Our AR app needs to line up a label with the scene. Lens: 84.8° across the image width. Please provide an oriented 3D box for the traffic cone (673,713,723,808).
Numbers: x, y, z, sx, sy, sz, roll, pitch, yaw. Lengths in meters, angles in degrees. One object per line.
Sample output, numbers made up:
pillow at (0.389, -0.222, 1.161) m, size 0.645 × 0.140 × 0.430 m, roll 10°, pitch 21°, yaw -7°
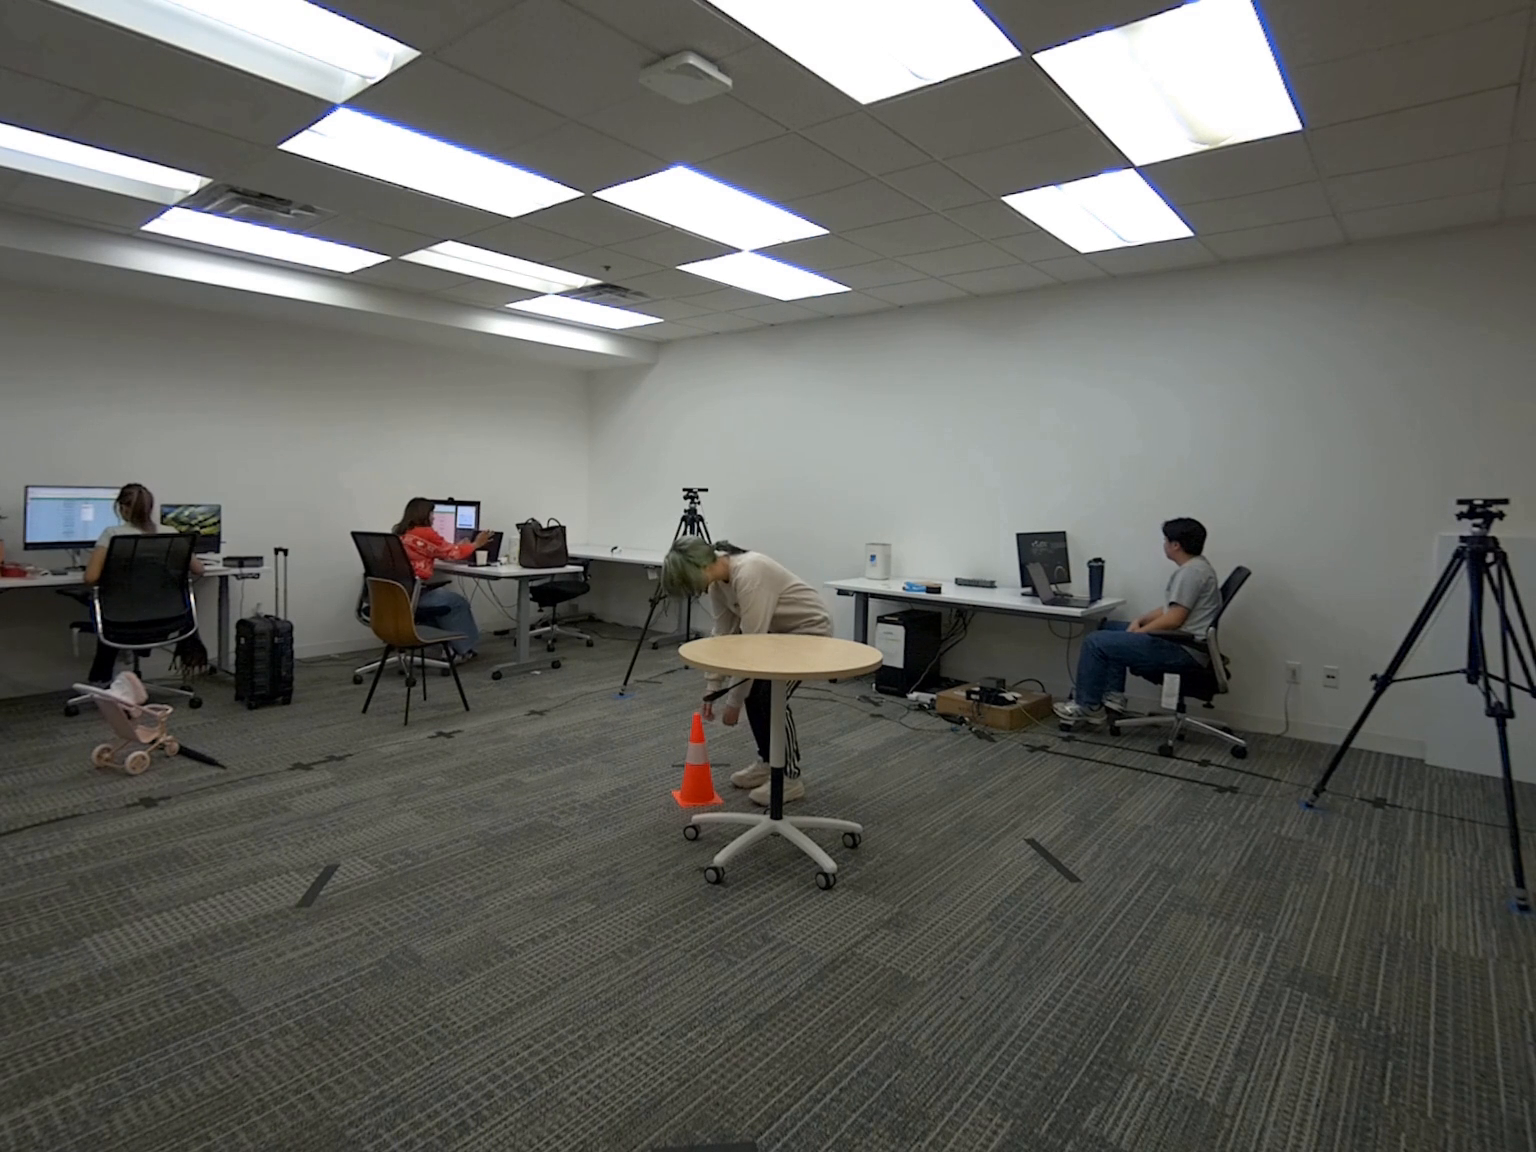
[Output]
traffic cone at (-0.325, 0.811, 3.841) m, size 0.200 × 0.383 × 0.208 m, roll 1°, pitch 2°, yaw -15°
